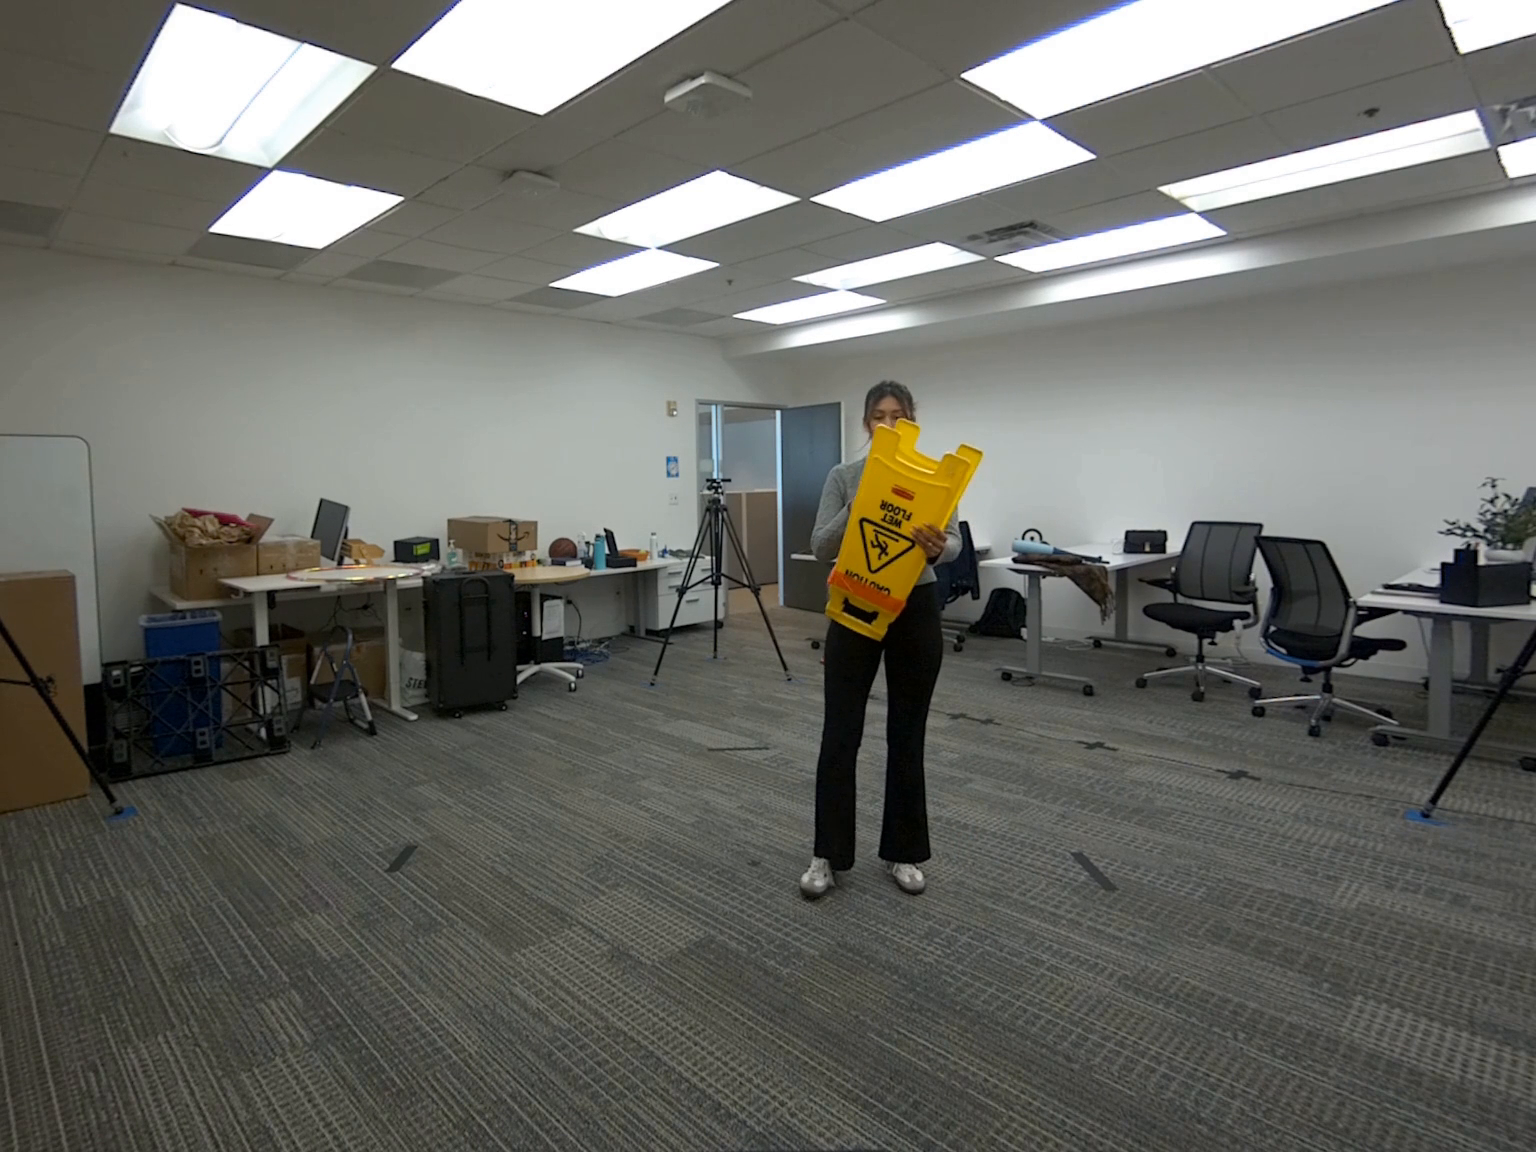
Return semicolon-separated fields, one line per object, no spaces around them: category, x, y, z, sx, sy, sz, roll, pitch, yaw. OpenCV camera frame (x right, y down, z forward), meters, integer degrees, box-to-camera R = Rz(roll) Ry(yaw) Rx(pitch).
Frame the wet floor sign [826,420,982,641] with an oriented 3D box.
wet floor sign;0.369;-0.117;2.583;0.288;0.640;0.286;26;19;15
